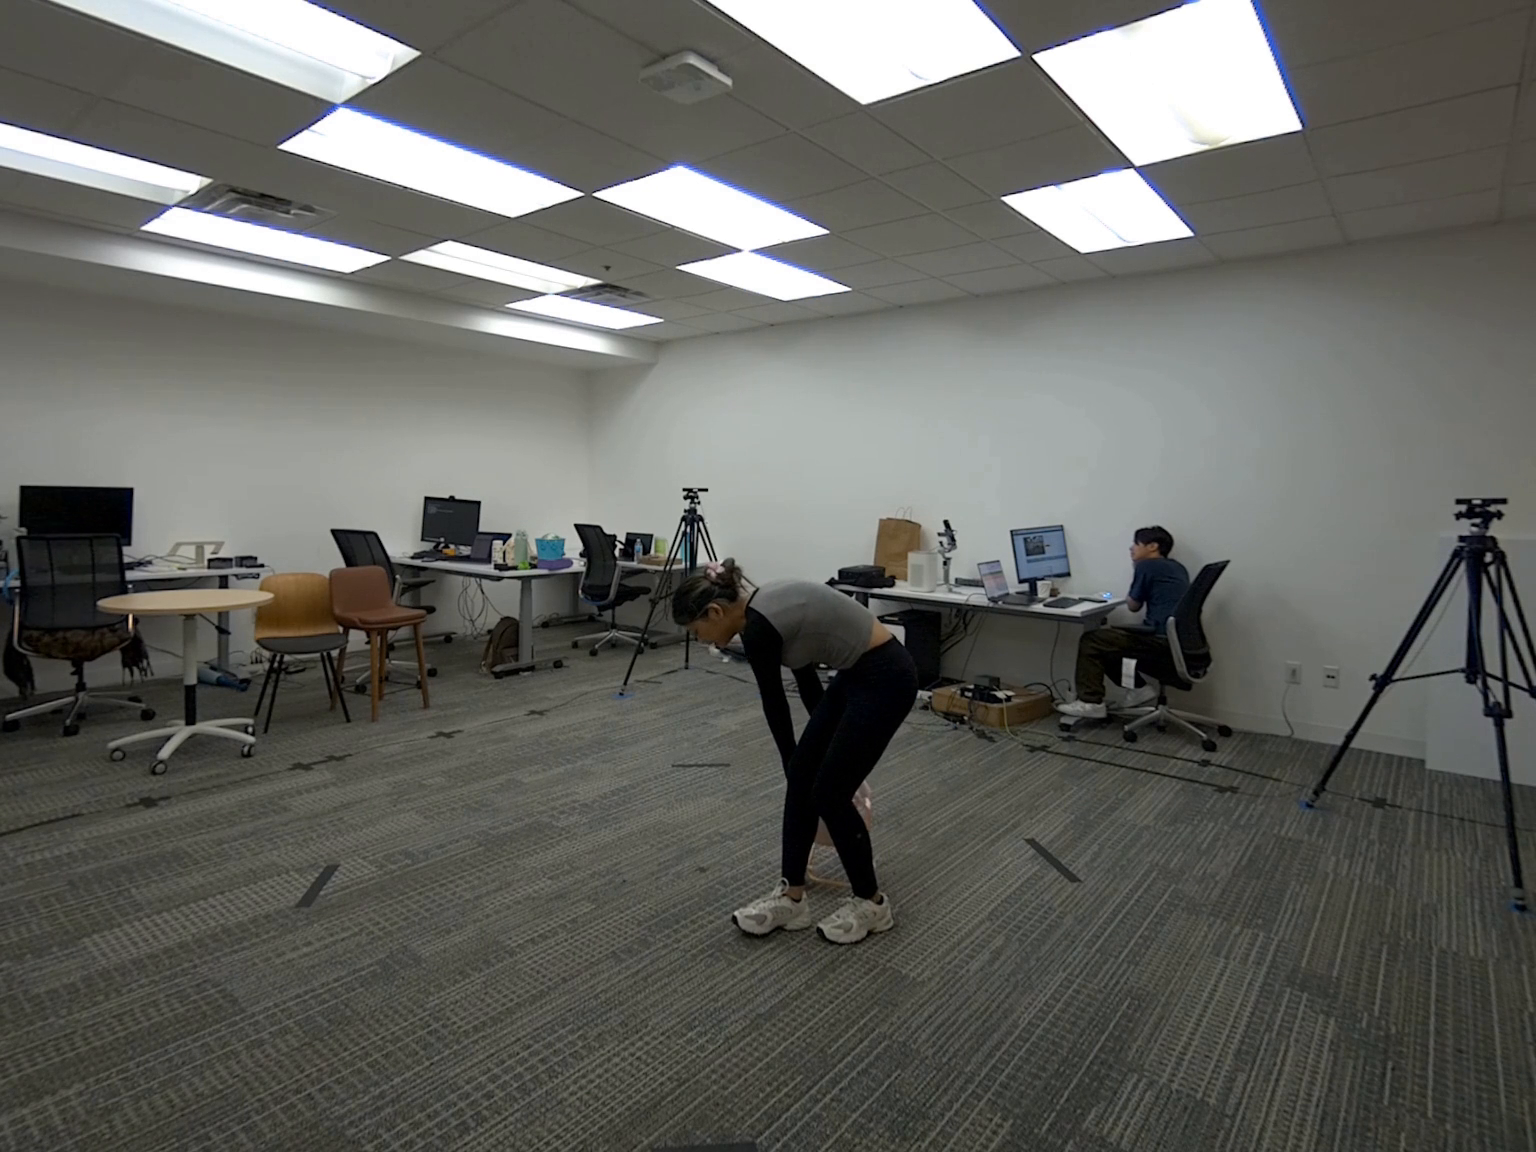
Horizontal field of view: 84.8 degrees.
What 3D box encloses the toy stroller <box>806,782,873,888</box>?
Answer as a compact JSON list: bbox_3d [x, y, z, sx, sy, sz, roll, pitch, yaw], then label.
[{"bbox_3d":[0.245,0.861,3.021,0.288,0.524,0.341,2,22,20],"label":"toy stroller"}]
